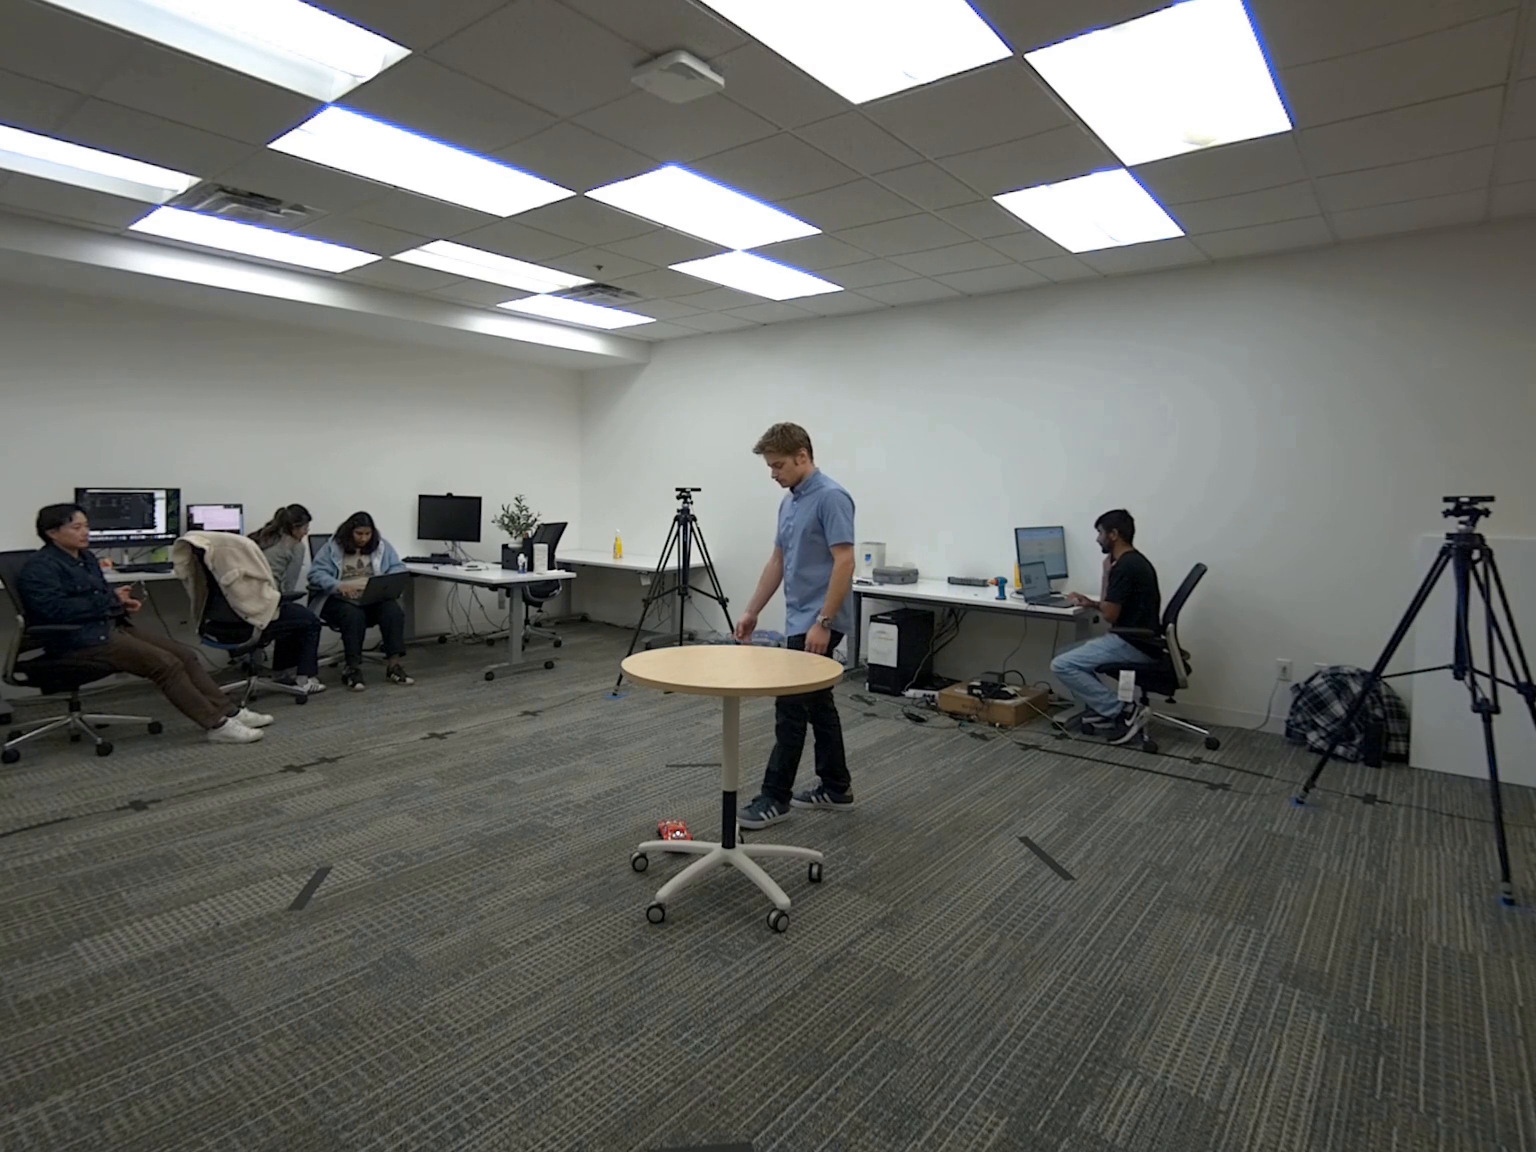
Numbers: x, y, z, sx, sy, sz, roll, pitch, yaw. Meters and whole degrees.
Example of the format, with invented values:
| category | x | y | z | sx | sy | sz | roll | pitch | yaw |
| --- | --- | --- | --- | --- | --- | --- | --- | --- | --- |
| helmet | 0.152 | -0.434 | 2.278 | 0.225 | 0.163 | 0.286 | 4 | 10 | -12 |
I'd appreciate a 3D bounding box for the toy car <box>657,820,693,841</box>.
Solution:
| category | x | y | z | sx | sy | sz | roll | pitch | yaw |
| --- | --- | --- | --- | --- | --- | --- | --- | --- | --- |
| toy car | -0.372 | 1.014 | 3.331 | 0.128 | 0.084 | 0.256 | -1 | -5 | -14 |
